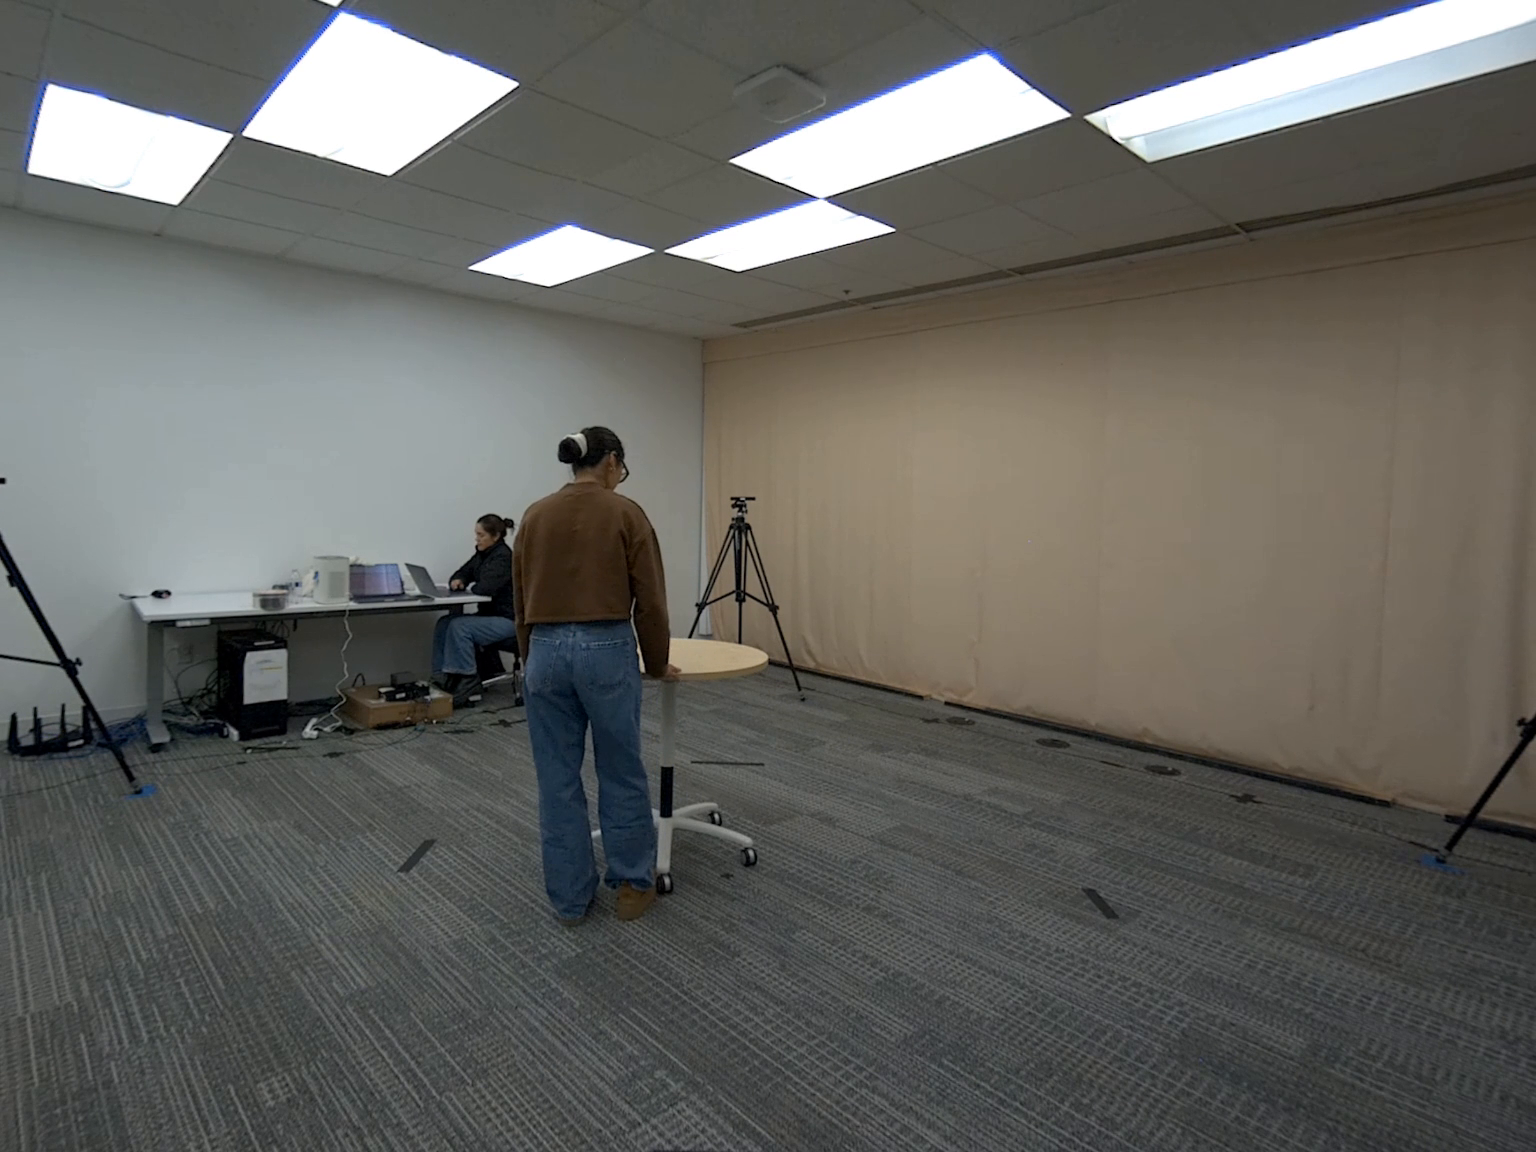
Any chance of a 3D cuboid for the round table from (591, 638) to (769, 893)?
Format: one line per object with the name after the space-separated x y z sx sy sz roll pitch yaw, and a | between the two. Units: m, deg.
-0.398 0.697 3.293 0.763 0.792 0.766 1 4 -1 | round table
